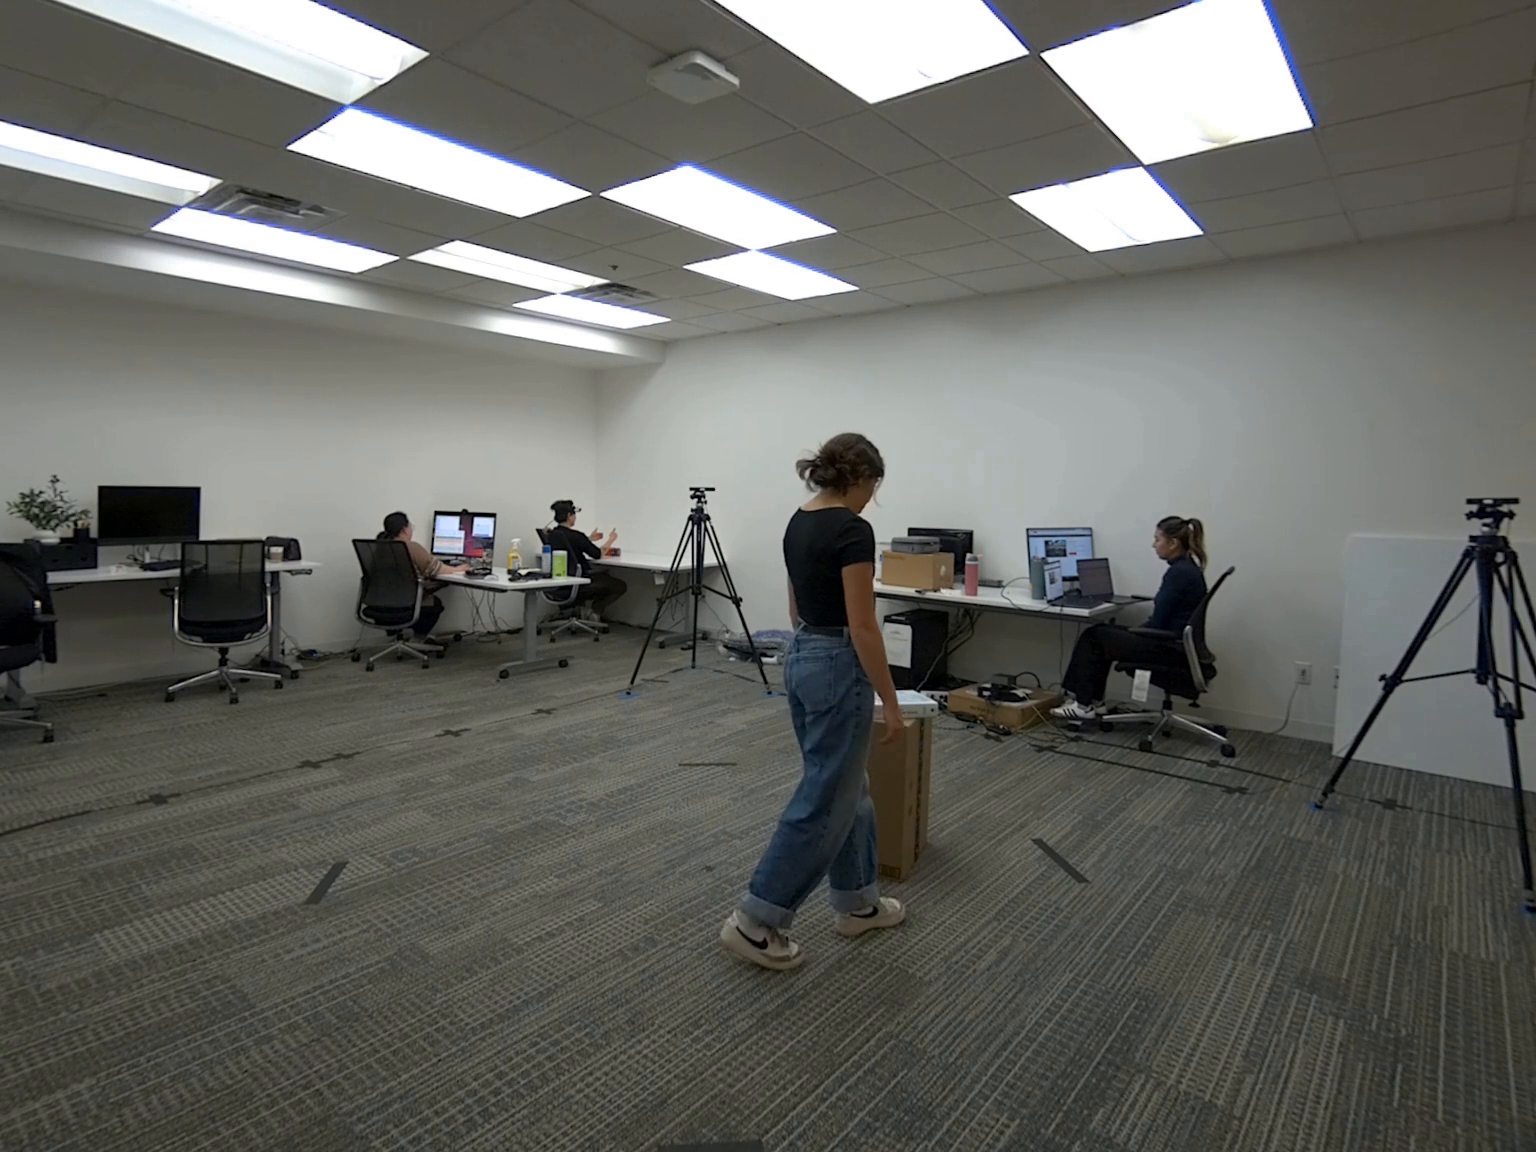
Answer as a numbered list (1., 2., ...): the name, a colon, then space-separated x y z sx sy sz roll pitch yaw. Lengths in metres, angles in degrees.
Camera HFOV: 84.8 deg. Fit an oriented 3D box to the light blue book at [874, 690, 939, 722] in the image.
1. light blue book: 0.476 0.480 3.192 0.256 0.059 0.195 0 6 -17
